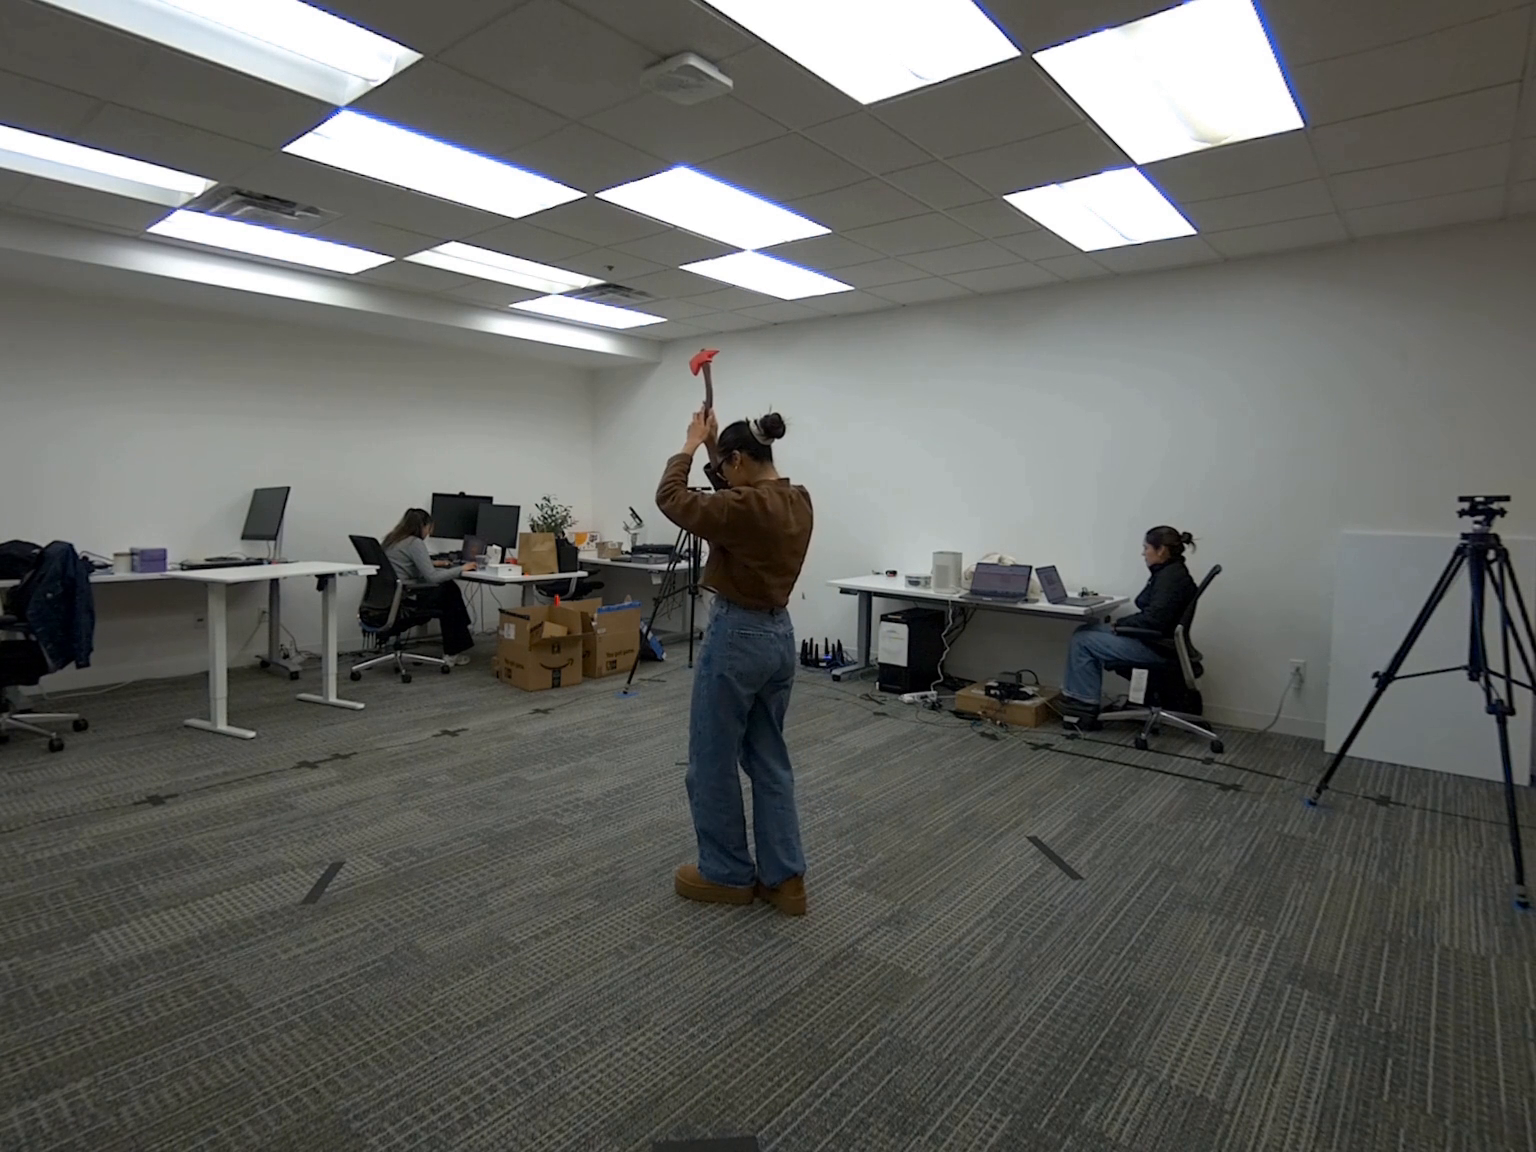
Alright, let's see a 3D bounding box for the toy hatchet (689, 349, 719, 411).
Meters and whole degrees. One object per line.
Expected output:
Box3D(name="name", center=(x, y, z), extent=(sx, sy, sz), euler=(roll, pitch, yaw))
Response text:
Box3D(name="toy hatchet", center=(-0.249, -0.668, 2.983), extent=(0.135, 0.270, 0.028), euler=(5, -2, 34))
